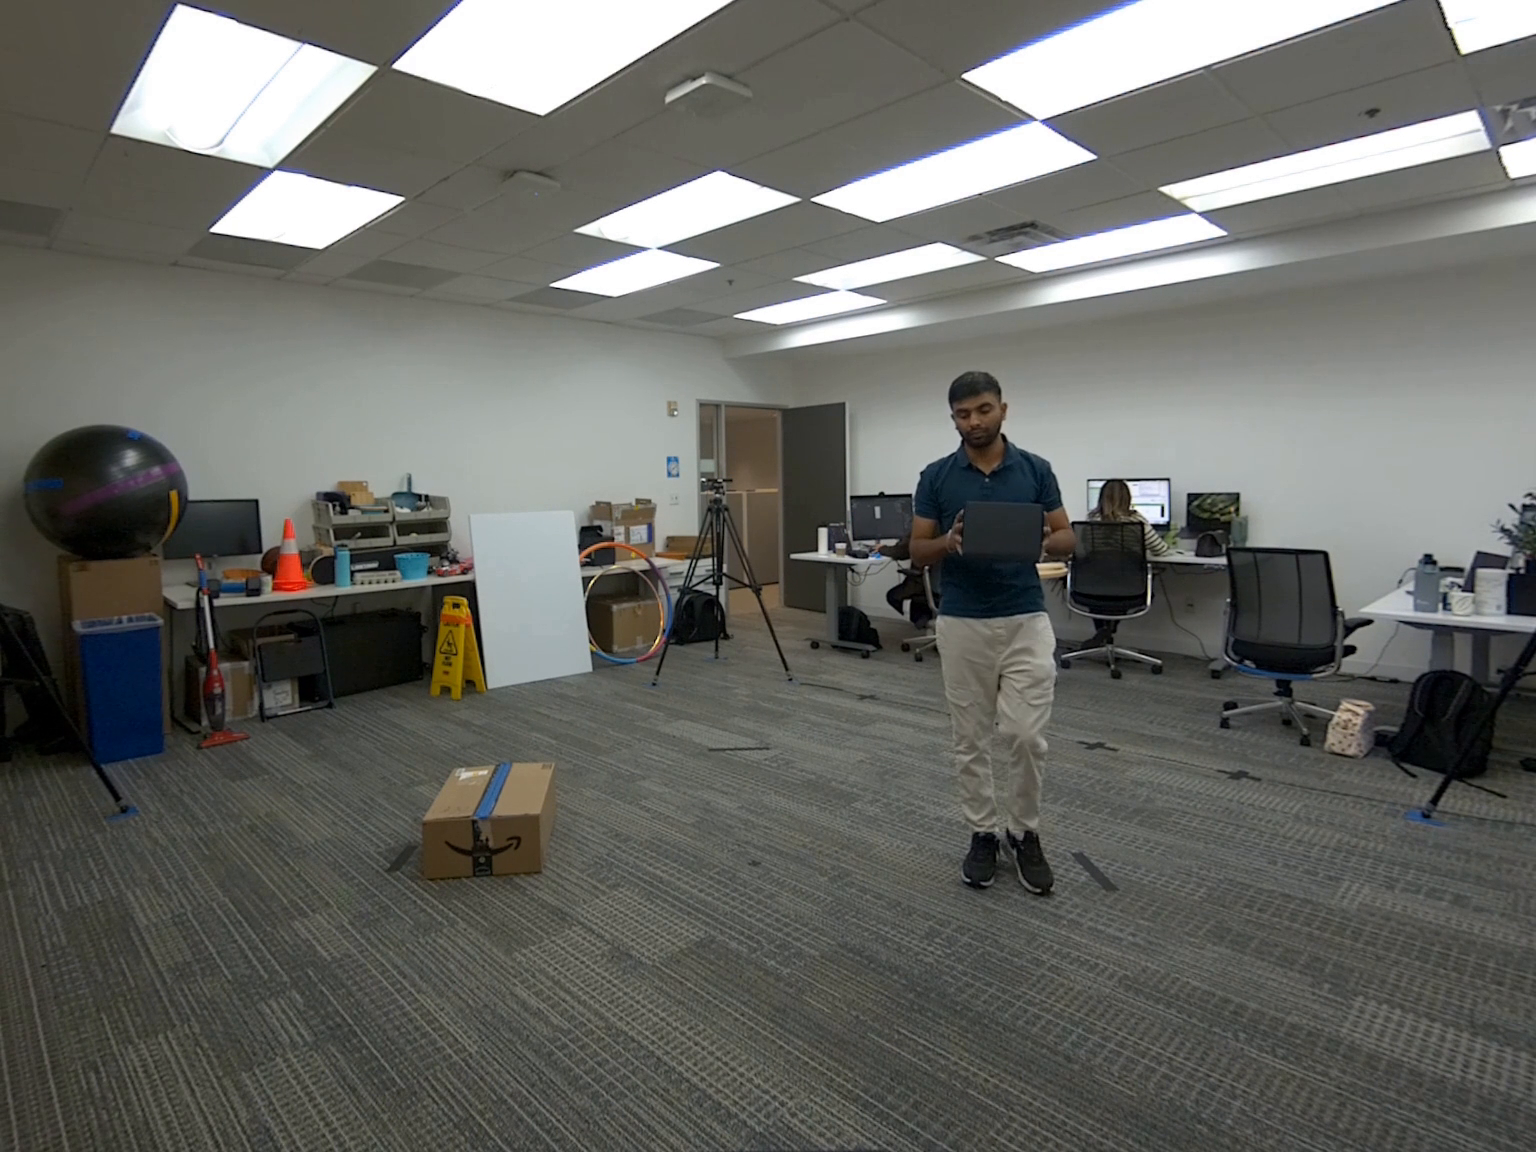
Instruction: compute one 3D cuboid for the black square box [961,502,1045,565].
[{"bbox_3d":[0.713,-0.135,2.626,0.232,0.156,0.213,4,1,17],"label":"black square box"}]
